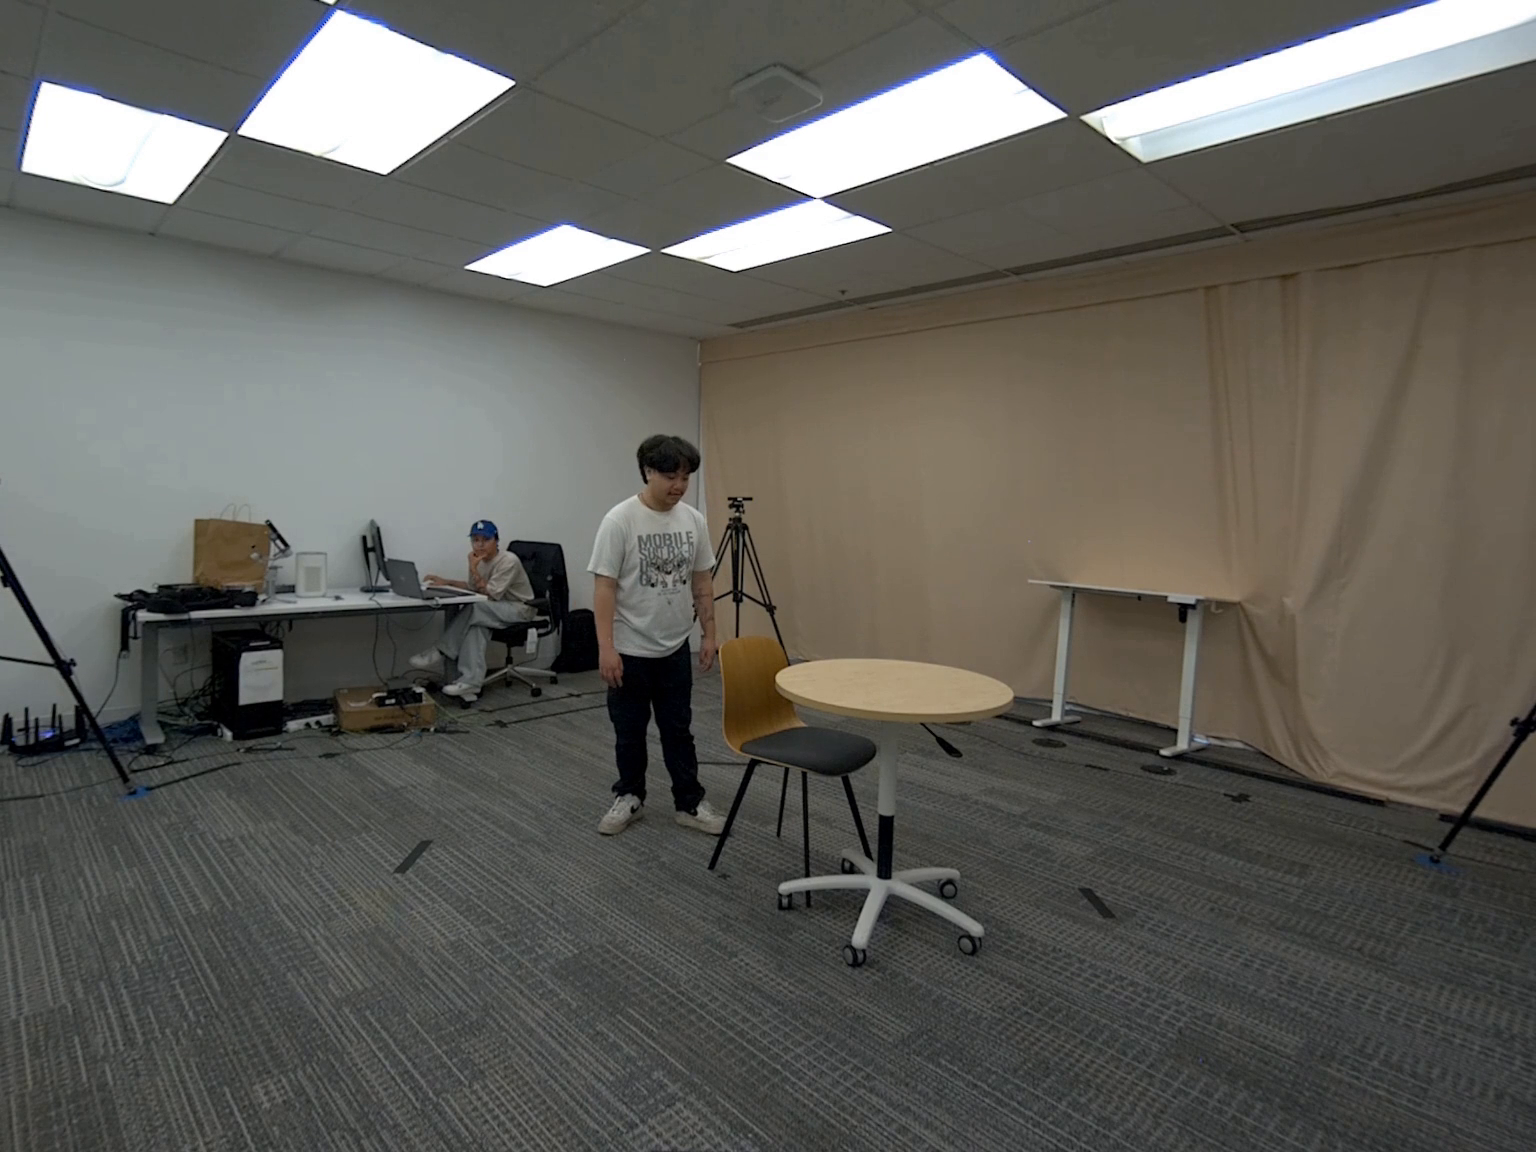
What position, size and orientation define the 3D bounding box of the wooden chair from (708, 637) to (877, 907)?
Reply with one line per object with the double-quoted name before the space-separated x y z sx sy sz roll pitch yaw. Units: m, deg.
"wooden chair" 0.100 0.683 3.150 0.535 0.877 0.467 -1 1 38
